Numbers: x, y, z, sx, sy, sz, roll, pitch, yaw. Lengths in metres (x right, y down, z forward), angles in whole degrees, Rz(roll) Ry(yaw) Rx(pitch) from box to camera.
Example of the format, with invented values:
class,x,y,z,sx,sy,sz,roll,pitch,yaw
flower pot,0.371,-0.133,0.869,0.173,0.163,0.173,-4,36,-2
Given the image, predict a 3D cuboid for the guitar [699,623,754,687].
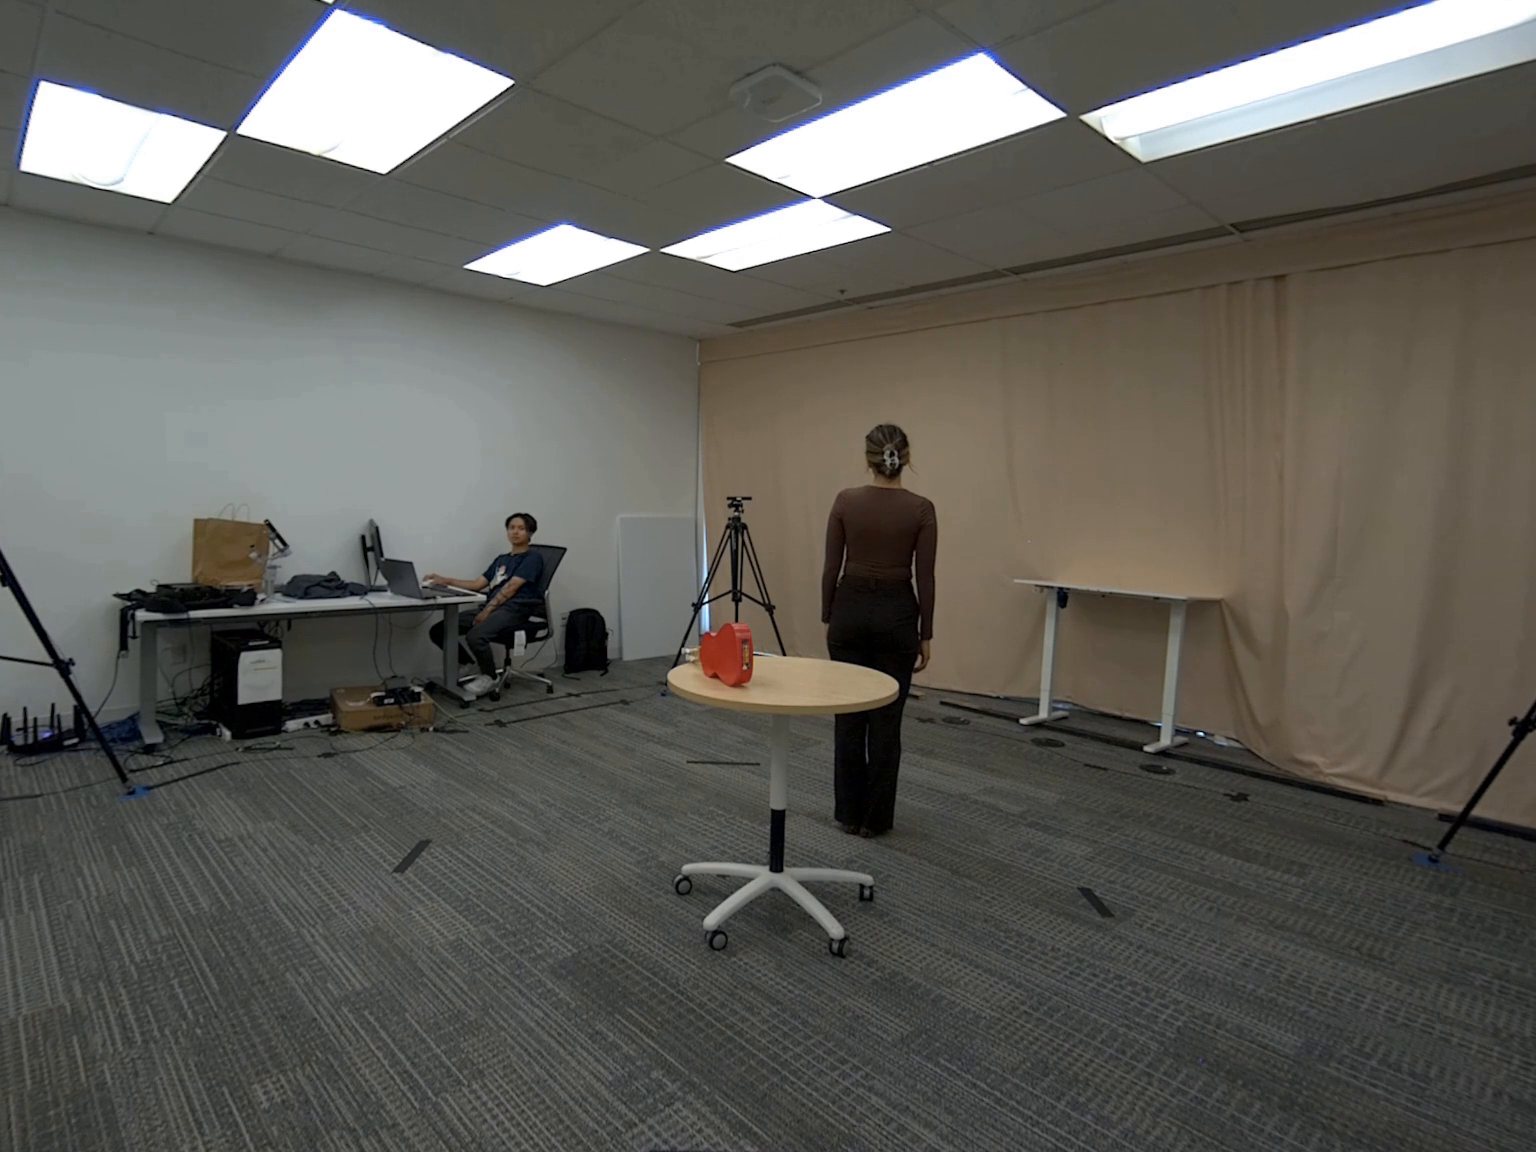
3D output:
class,x,y,z,sx,sy,sz,roll,pitch,yaw
guitar,-0.192,0.293,2.825,0.069,0.195,0.502,2,-15,-28
